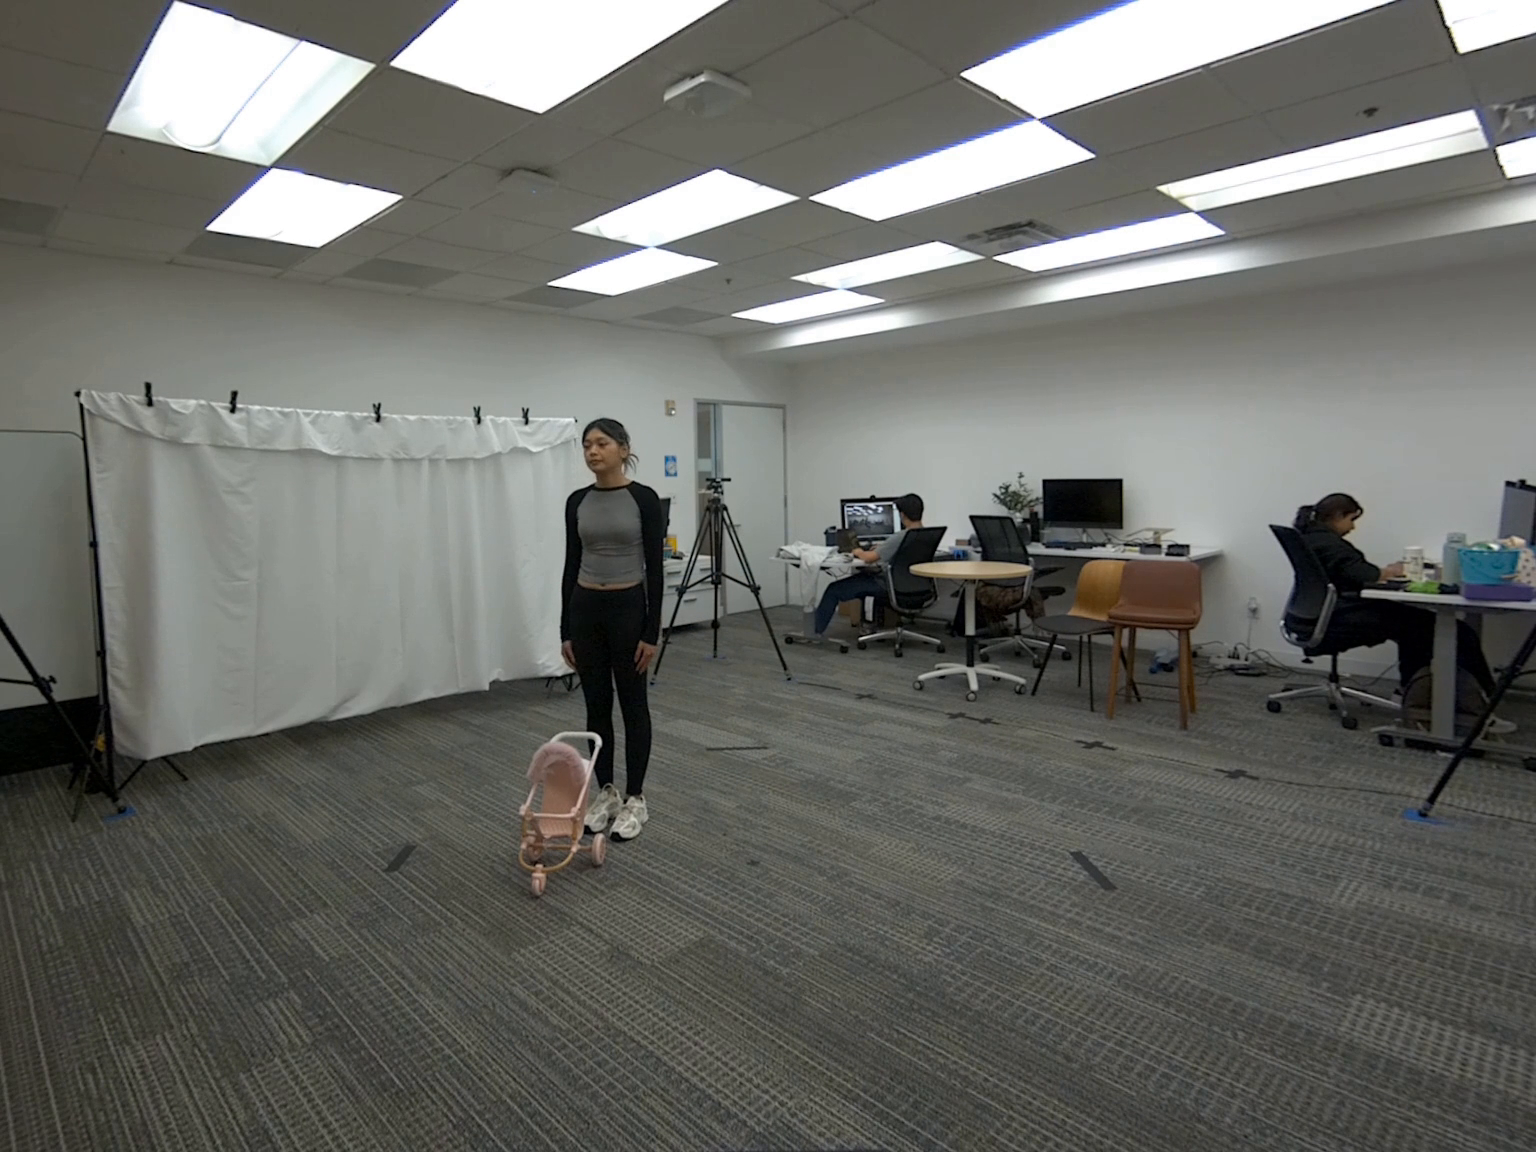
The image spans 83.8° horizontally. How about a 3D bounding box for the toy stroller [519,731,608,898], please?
[{"bbox_3d":[-0.757,0.837,3.062,0.286,0.540,0.333,0,-10,15],"label":"toy stroller"}]
